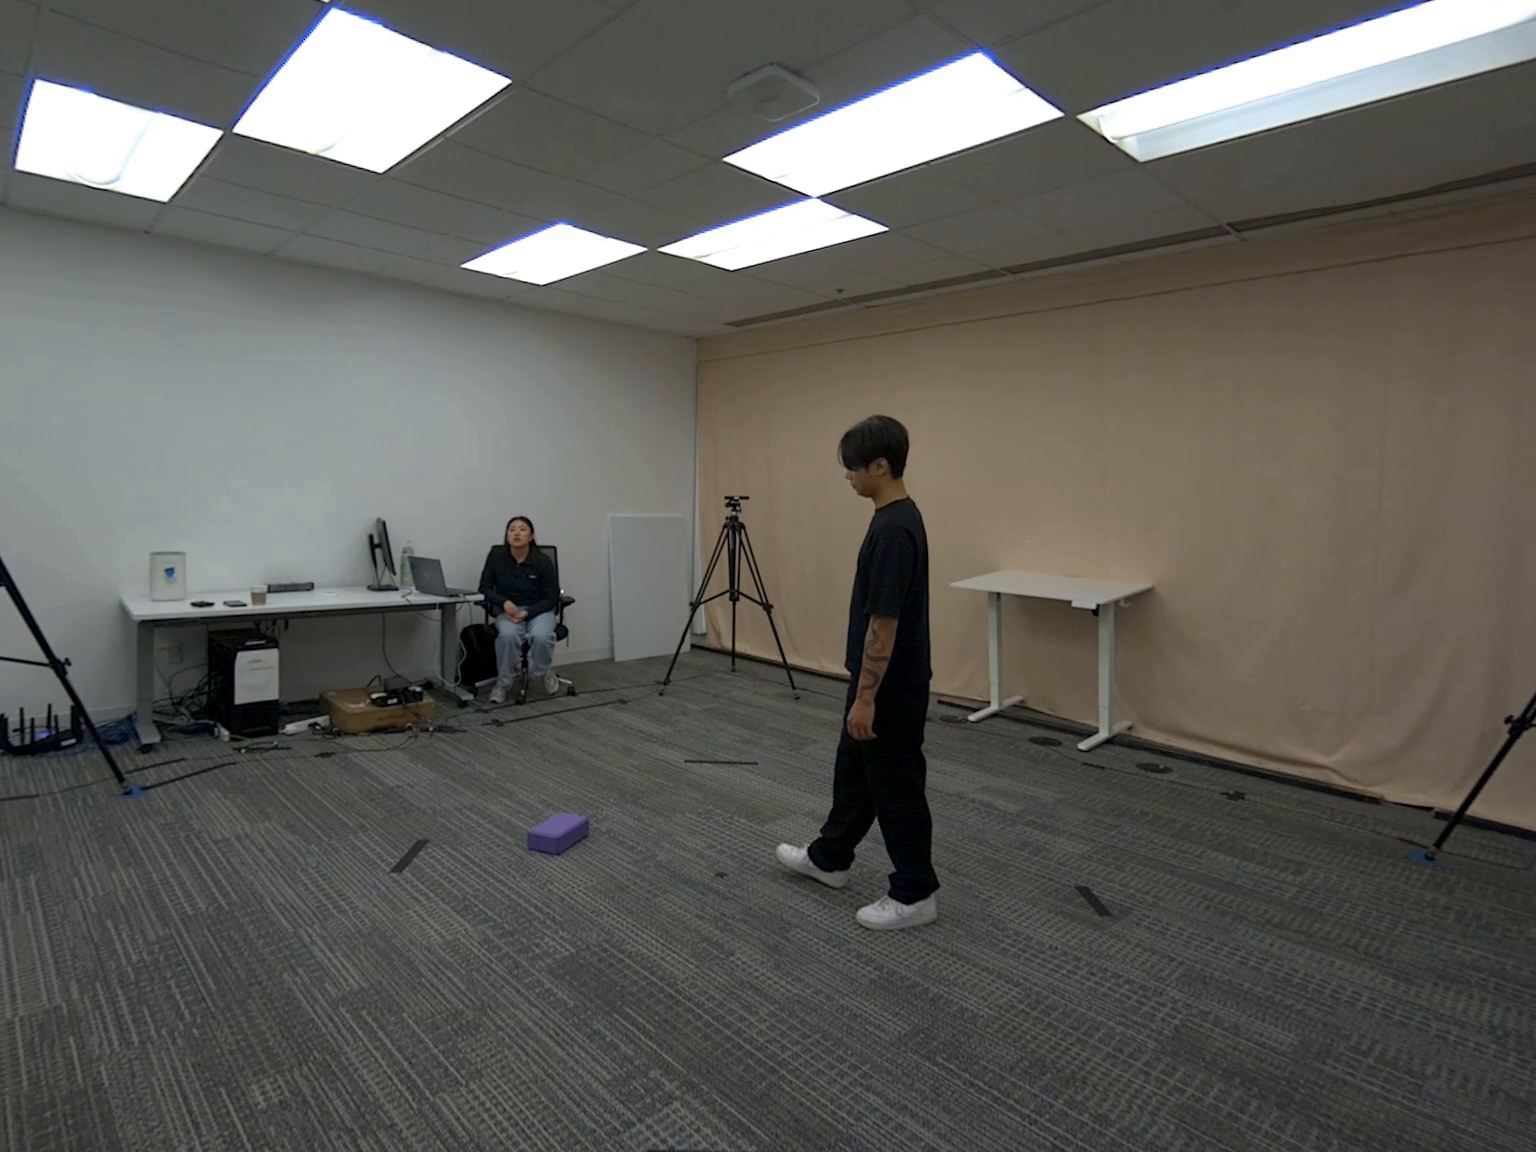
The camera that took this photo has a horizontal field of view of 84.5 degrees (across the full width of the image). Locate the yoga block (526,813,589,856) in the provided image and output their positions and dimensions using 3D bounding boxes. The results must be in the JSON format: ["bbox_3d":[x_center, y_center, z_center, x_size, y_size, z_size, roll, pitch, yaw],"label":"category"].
[{"bbox_3d":[-0.844,1.026,3.359,0.151,0.076,0.226,3,5,21],"label":"yoga block"}]
